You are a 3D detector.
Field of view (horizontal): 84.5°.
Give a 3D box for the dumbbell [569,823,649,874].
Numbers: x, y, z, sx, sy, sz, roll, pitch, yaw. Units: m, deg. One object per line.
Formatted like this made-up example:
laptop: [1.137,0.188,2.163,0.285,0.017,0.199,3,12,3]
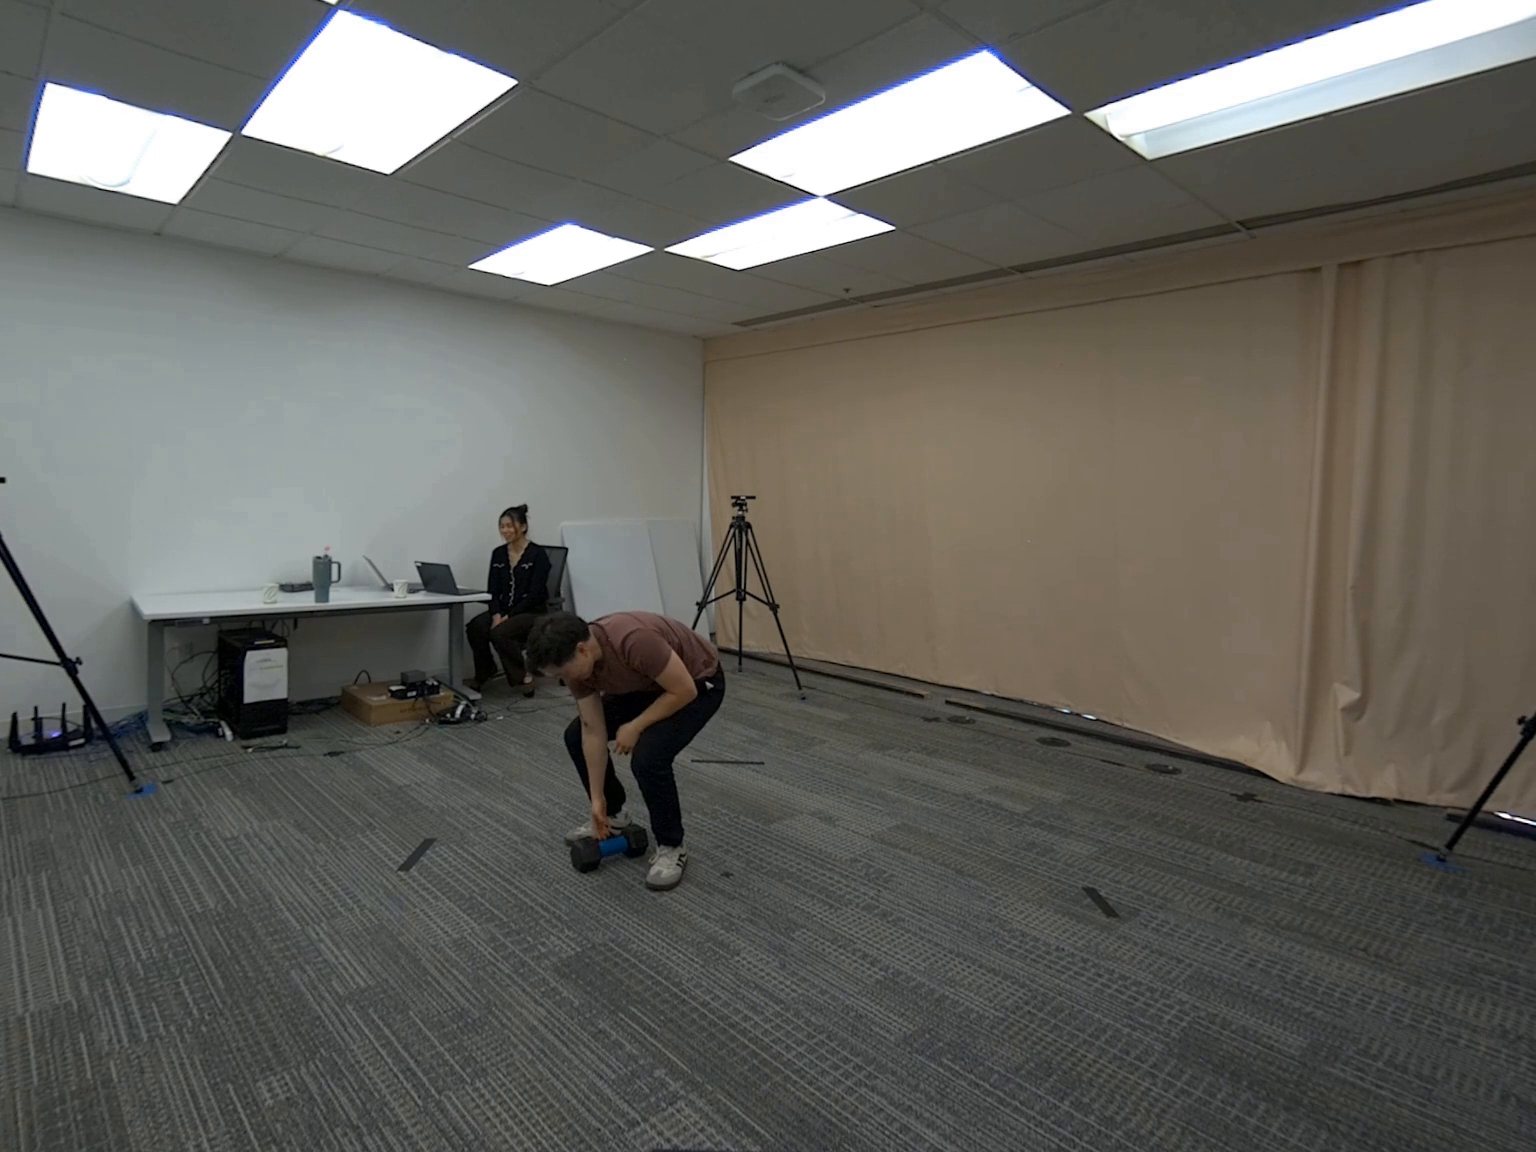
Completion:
dumbbell: [-0.606,1.032,3.193,0.287,0.125,0.109,-4,-24,-41]
